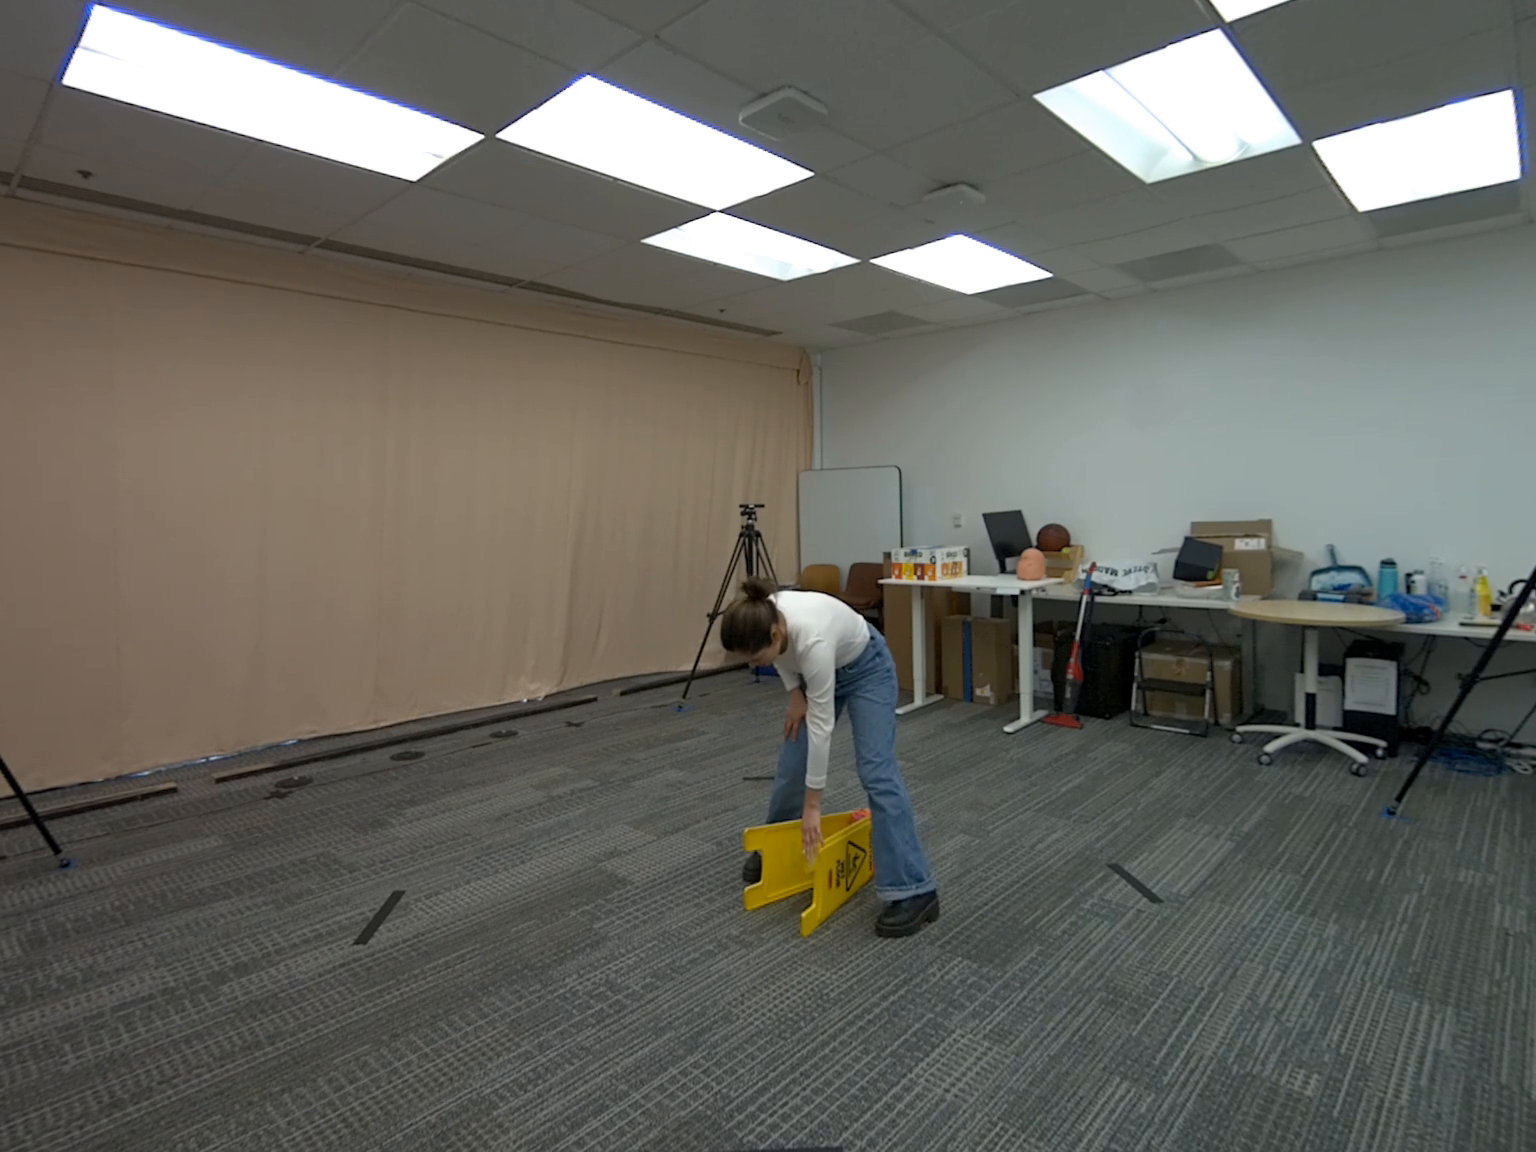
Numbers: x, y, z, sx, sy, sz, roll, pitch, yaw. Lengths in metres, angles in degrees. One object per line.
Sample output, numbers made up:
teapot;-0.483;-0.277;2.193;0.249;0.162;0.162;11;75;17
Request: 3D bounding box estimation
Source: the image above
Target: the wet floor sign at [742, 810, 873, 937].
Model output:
wet floor sign;0.237;1.003;3.013;0.299;0.282;0.626;4;5;45
